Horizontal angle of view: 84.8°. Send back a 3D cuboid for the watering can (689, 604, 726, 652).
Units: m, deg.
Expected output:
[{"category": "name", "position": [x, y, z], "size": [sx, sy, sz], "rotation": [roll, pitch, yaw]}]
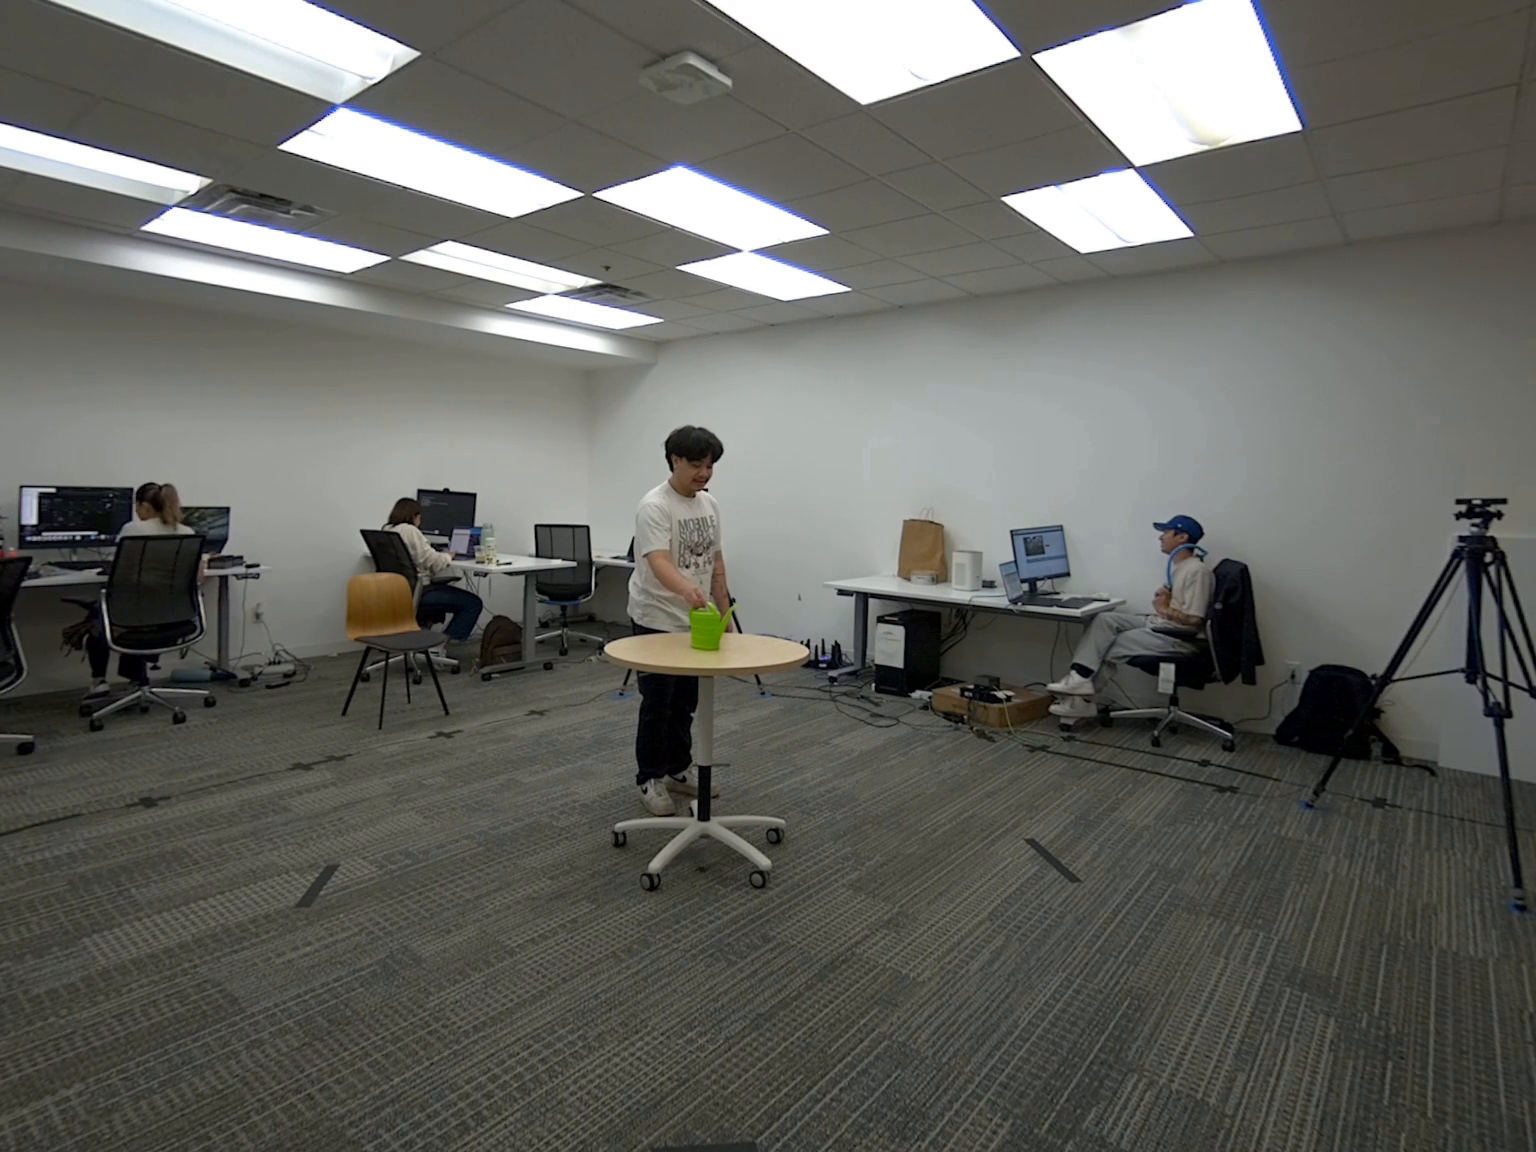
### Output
[{"category": "watering can", "position": [-0.235, 0.183, 3.165], "size": [0.096, 0.176, 0.286], "rotation": [-6, 5, -27]}]
